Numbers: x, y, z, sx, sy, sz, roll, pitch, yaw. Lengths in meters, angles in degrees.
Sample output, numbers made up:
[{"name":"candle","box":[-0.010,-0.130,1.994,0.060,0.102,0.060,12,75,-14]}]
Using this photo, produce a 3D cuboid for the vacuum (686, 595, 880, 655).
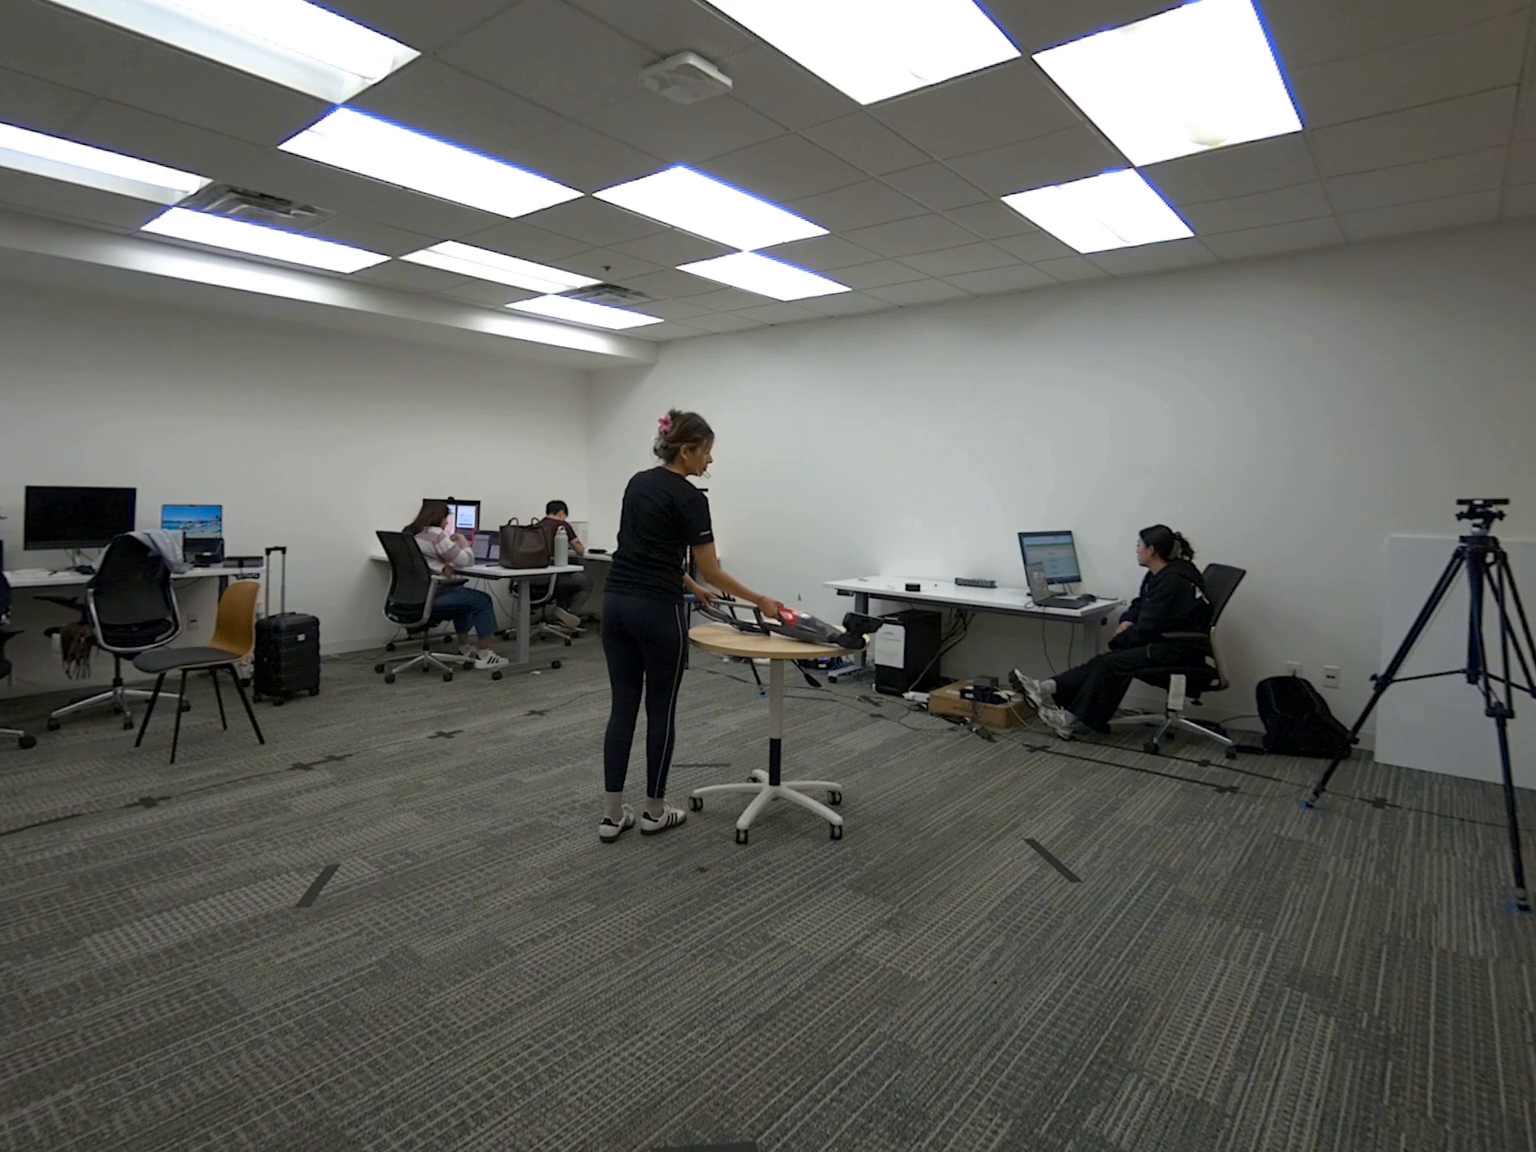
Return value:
[{"name":"vacuum","box":[-0.050,0.184,3.609,1.085,0.144,0.243,5,-4,41]}]
